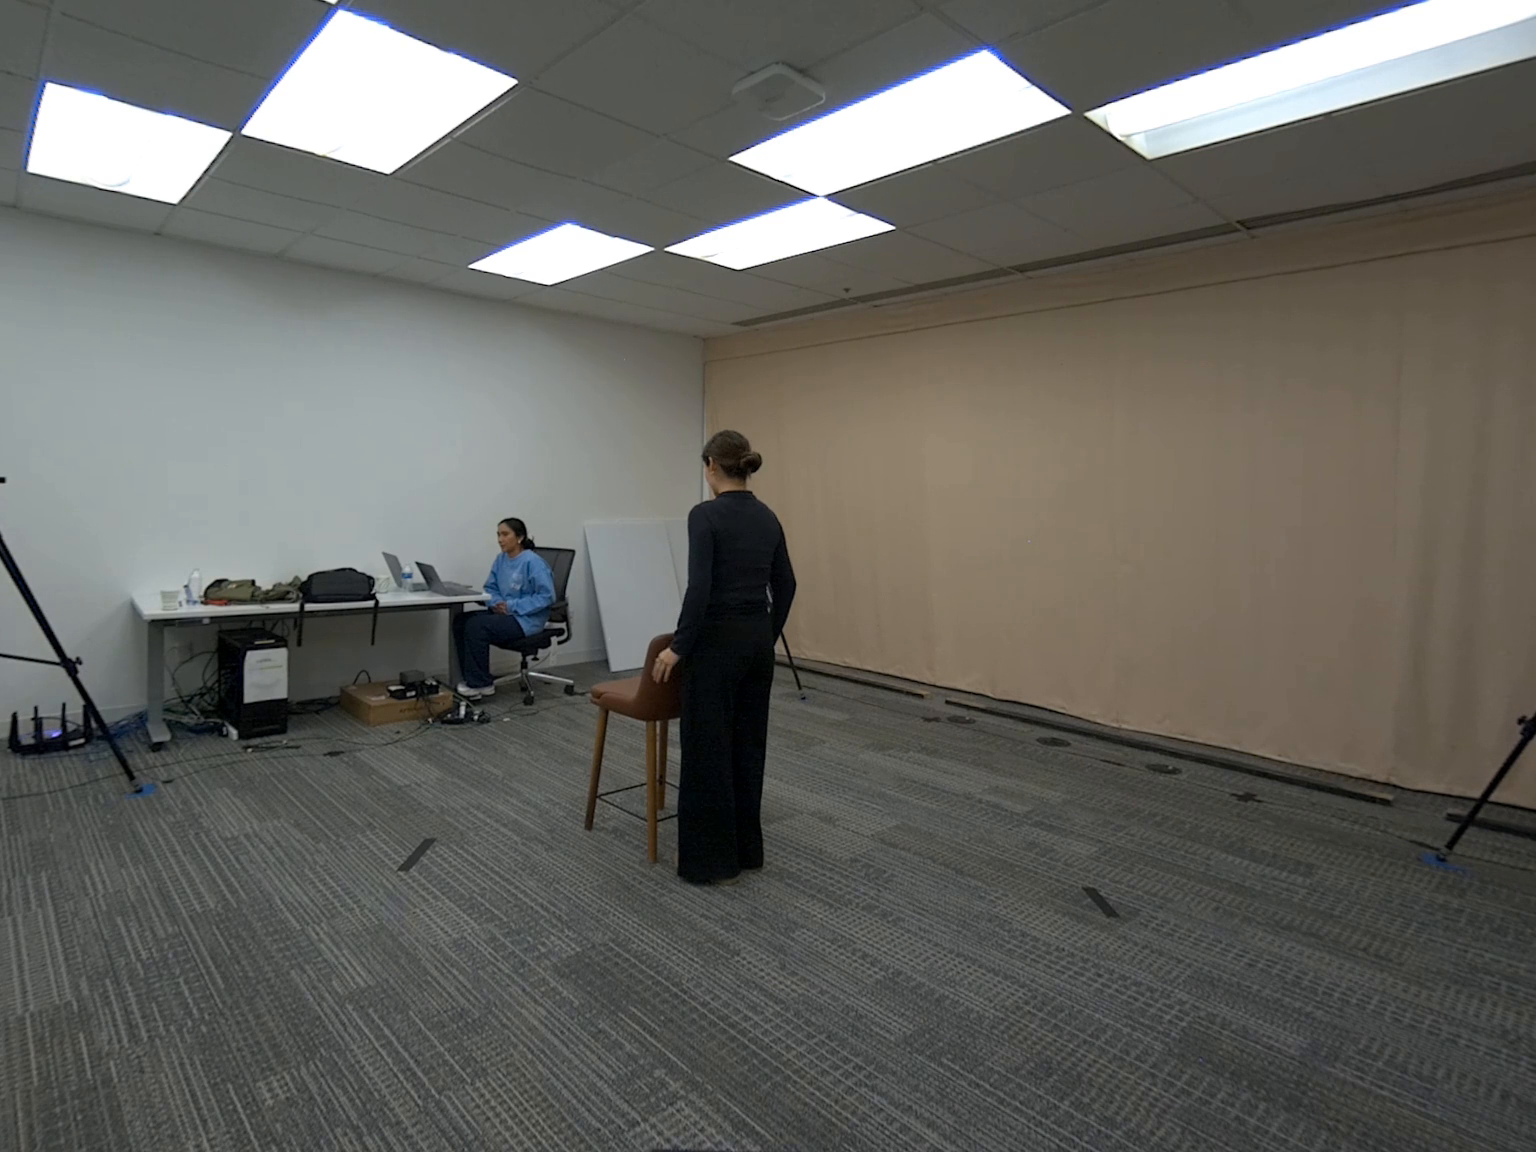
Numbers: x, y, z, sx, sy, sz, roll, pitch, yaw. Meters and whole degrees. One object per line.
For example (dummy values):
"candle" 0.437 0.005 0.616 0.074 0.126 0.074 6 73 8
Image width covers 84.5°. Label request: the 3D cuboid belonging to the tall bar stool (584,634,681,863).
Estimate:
"tall bar stool" -0.453 0.626 3.440 0.446 0.887 0.480 -1 7 -43
